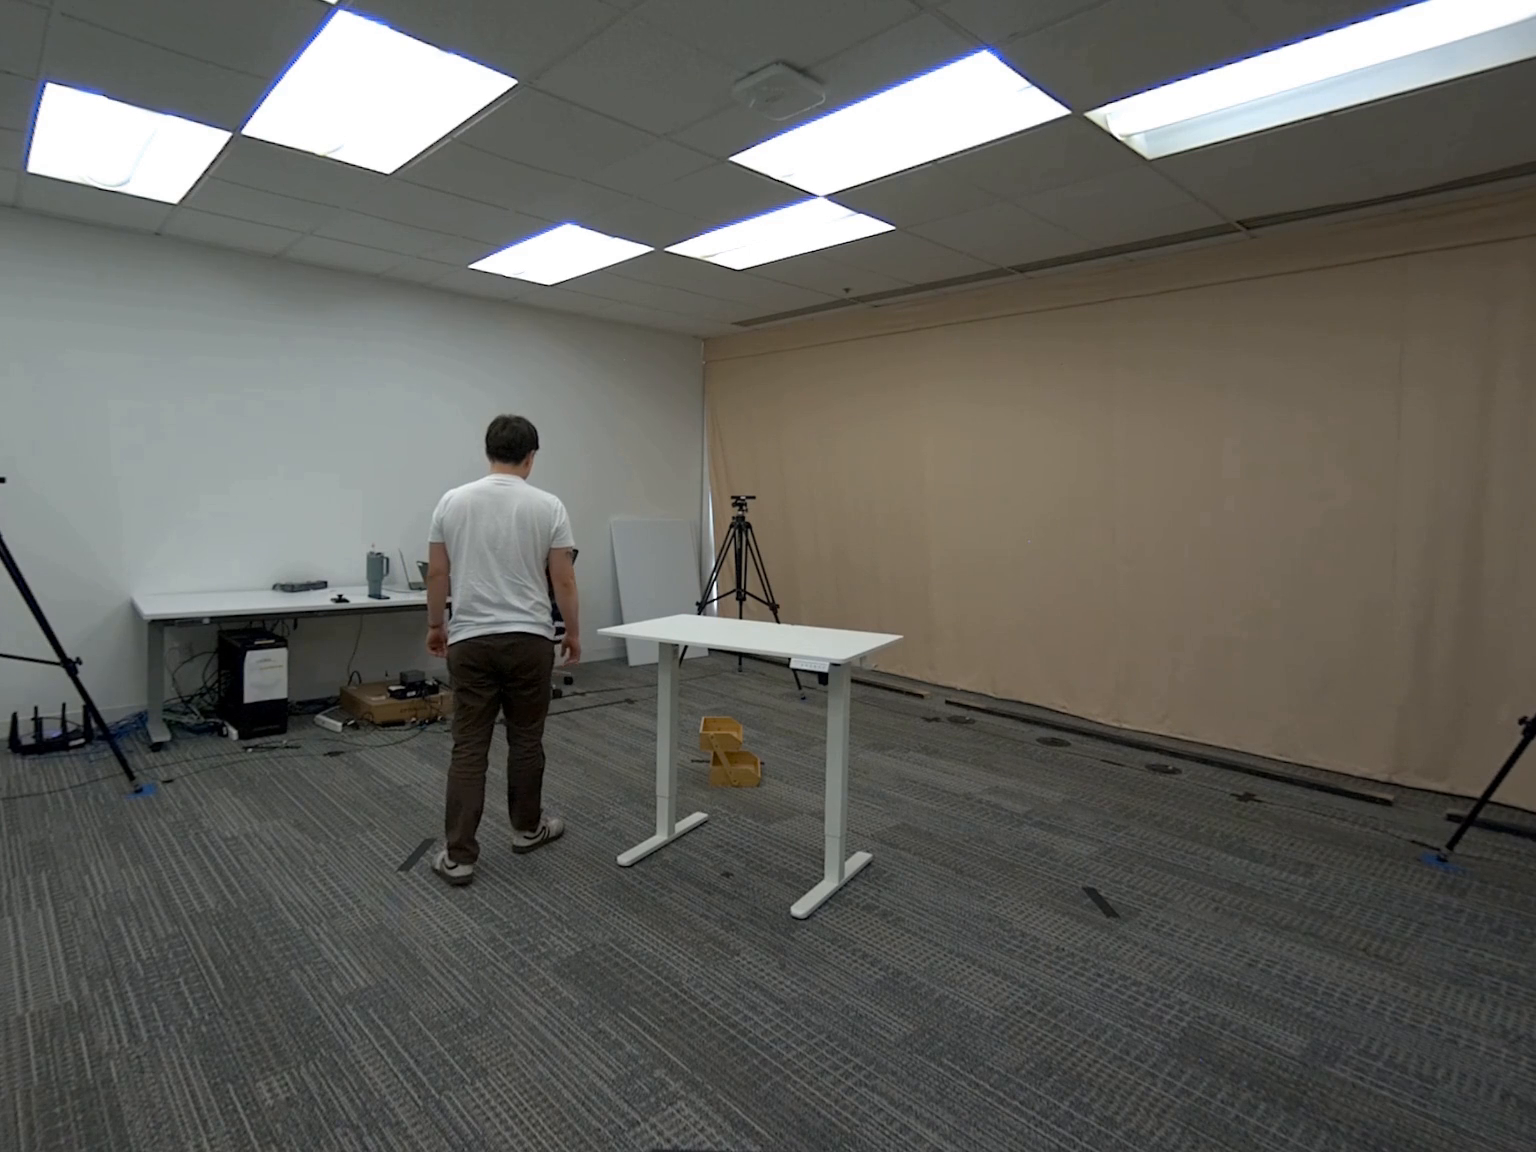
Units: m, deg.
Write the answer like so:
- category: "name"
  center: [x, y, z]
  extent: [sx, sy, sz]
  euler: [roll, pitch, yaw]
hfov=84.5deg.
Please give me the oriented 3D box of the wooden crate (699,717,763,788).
- category: "wooden crate"
  center: [-0.195, 0.870, 4.227]
  extent: [0.302, 0.272, 0.325]
  euler: [1, 4, -2]
